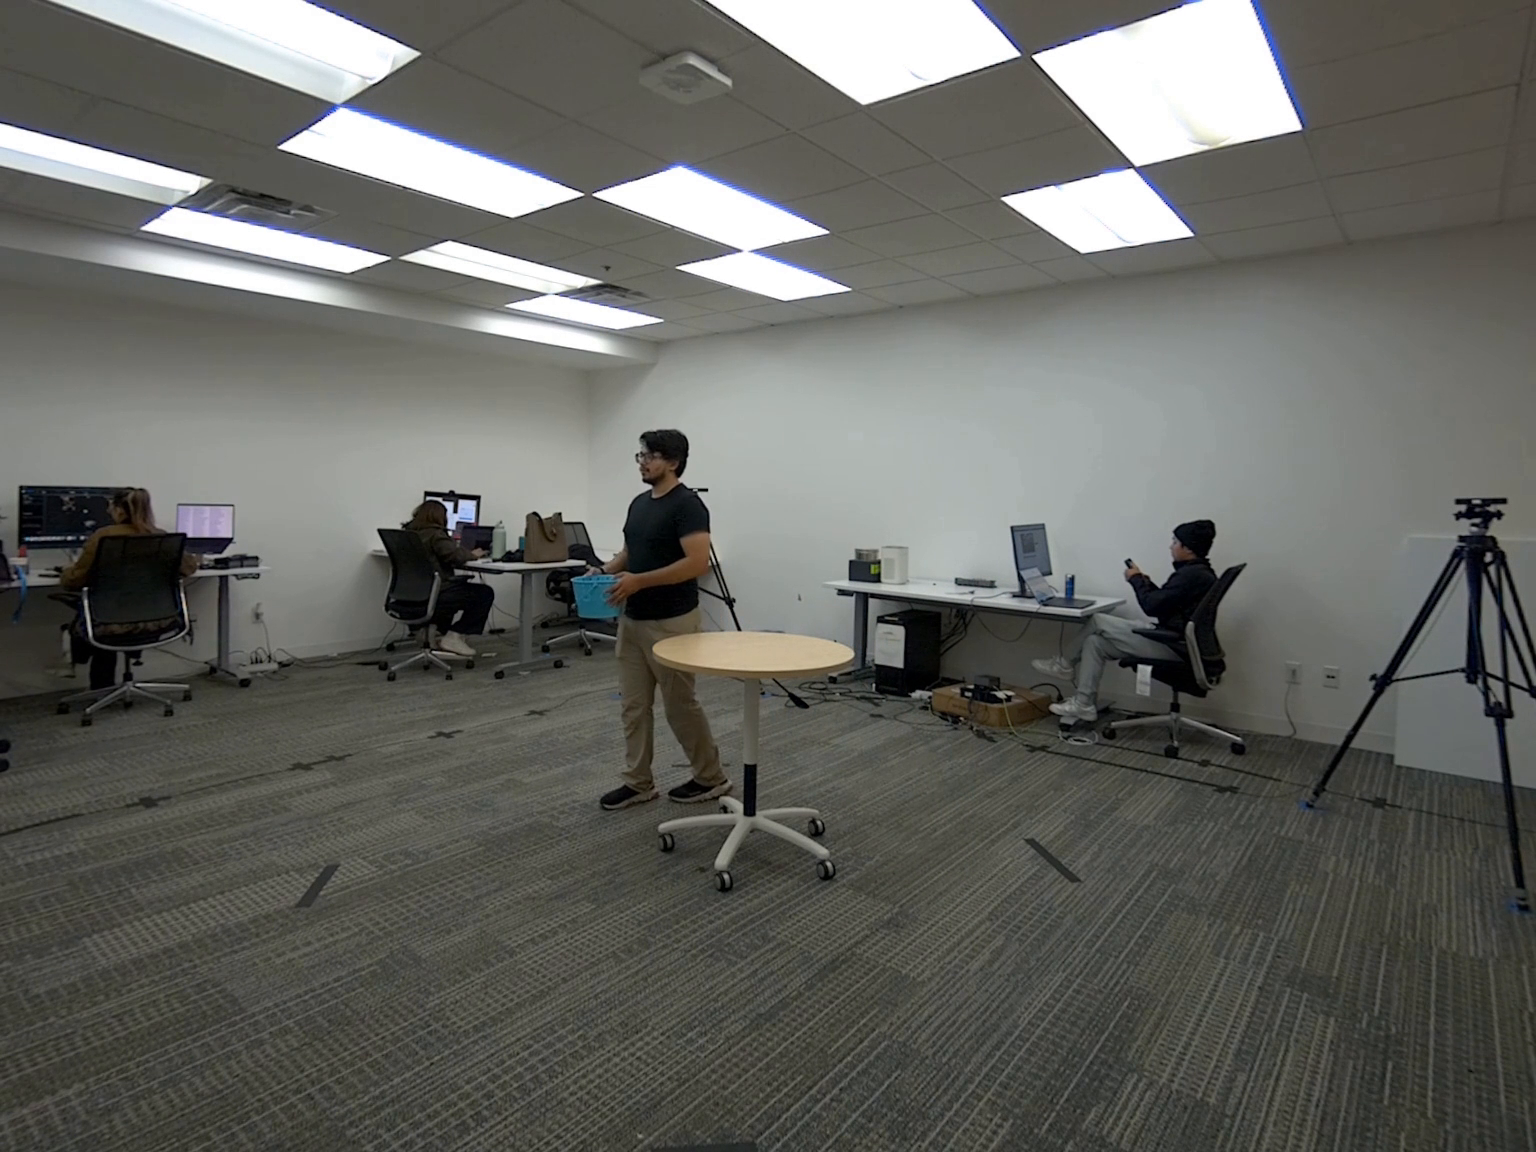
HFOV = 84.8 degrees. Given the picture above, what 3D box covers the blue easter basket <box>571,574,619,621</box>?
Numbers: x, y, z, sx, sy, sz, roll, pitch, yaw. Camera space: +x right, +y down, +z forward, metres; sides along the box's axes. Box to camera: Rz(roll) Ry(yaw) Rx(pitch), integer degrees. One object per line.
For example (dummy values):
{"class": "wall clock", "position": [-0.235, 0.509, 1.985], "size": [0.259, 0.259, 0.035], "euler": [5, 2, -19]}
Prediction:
{"class": "blue easter basket", "position": [-0.733, 0.087, 3.588], "size": [0.243, 0.156, 0.244], "euler": [1, 2, -2]}
